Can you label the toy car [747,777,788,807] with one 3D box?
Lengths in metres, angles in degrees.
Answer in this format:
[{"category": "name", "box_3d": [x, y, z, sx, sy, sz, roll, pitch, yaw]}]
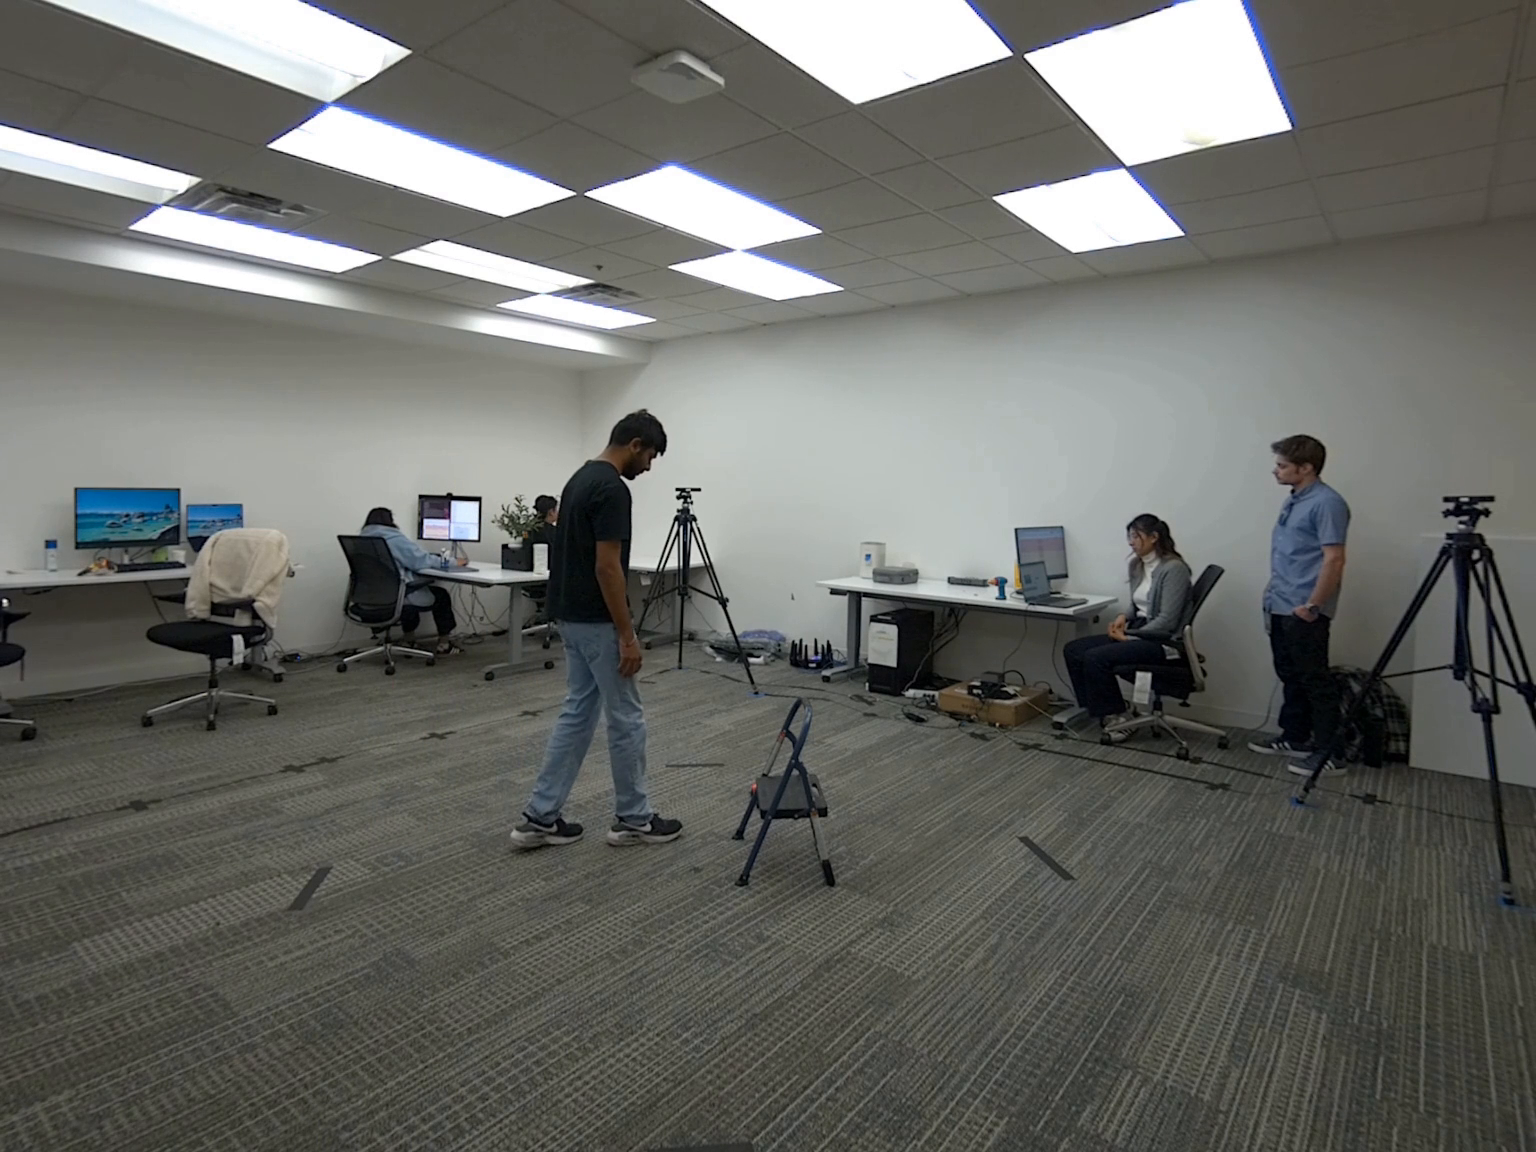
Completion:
[{"category": "toy car", "box_3d": [-0.006, 0.968, 3.783, 0.129, 0.084, 0.255, 0, -6, -10]}]
